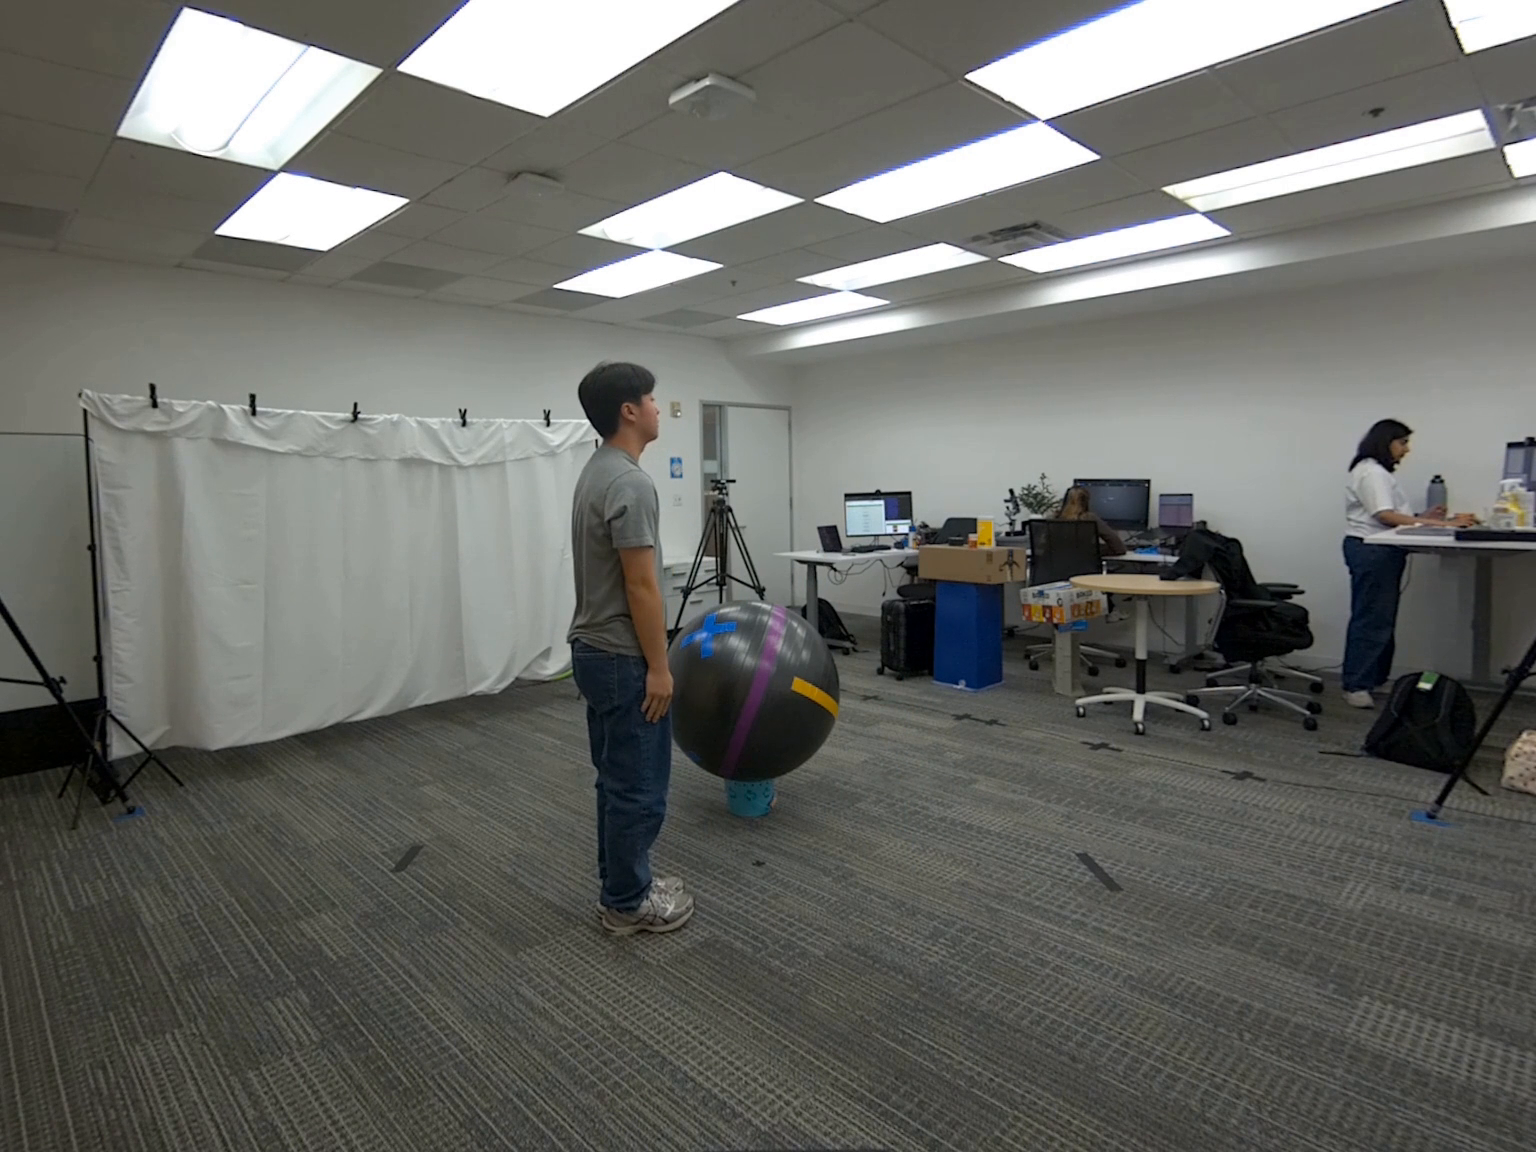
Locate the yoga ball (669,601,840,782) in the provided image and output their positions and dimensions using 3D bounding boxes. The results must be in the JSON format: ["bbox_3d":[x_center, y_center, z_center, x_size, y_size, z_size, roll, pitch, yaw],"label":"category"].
[{"bbox_3d":[-0.080,0.481,3.618,0.757,0.755,0.762,-1,5,-2],"label":"yoga ball"}]
